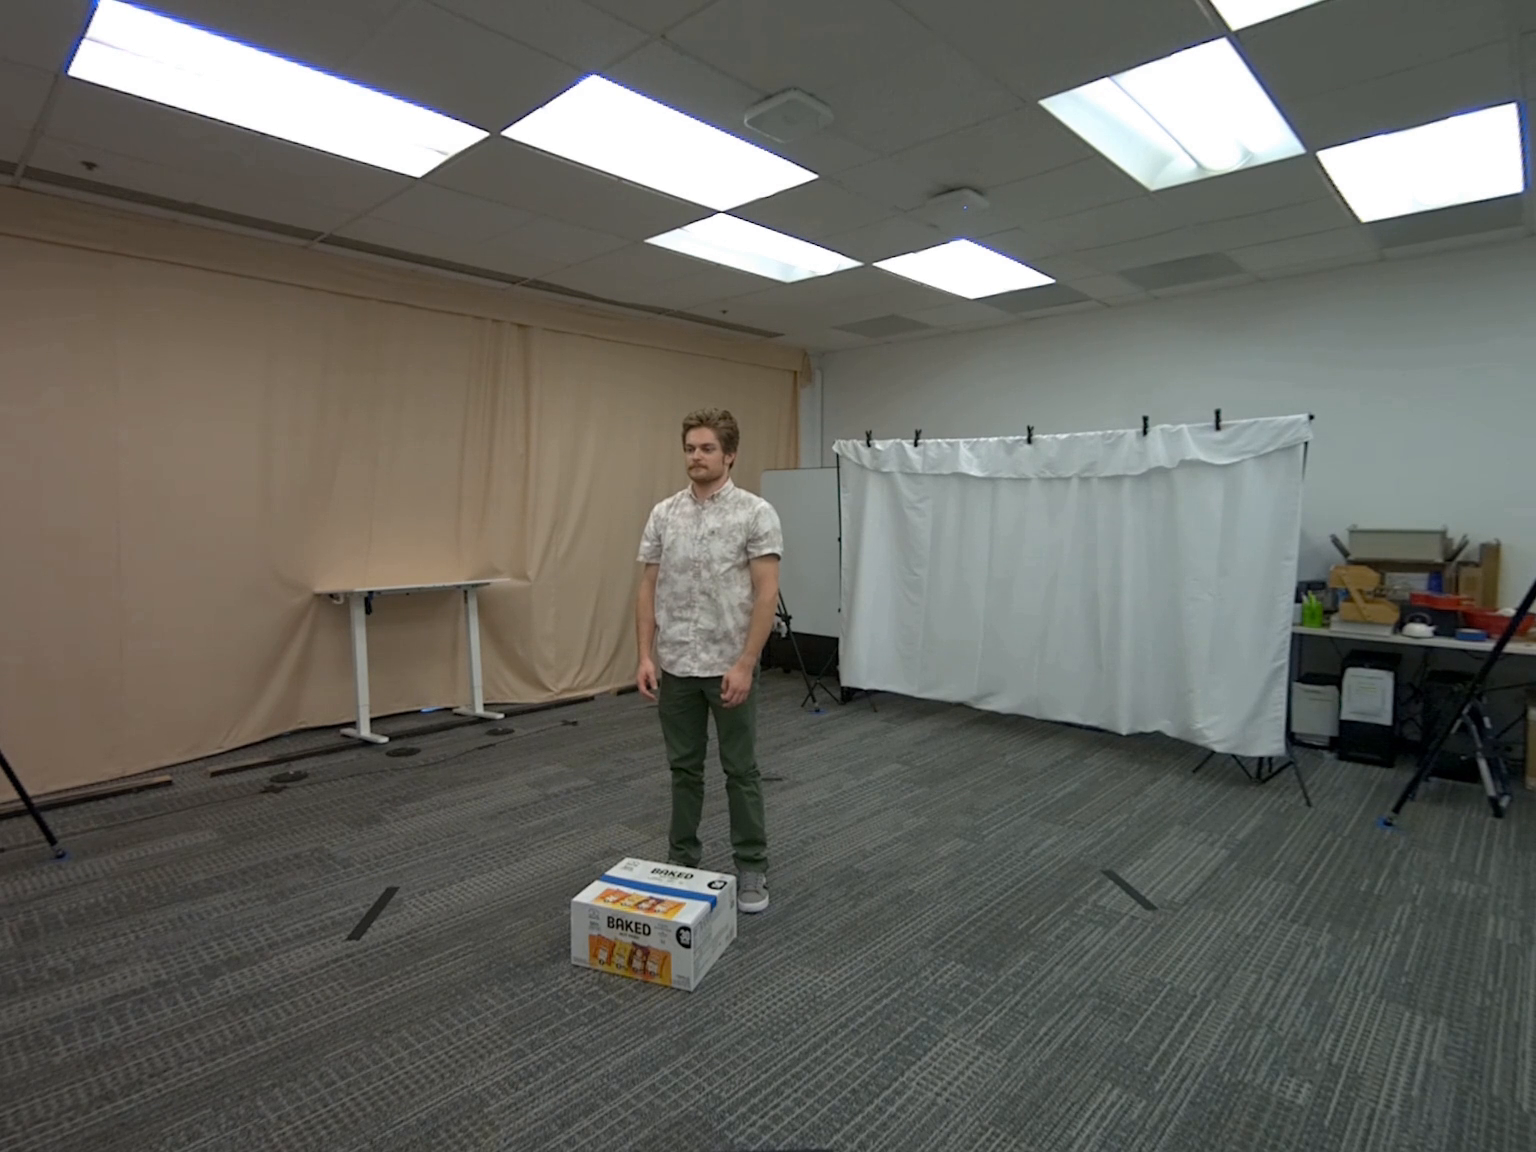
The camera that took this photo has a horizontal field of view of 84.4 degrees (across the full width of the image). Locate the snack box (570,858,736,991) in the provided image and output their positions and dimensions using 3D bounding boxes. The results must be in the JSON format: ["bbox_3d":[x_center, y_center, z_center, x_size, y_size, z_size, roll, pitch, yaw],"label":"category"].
[{"bbox_3d":[-0.349,1.076,2.622,0.414,0.205,0.333,1,5,21],"label":"snack box"}]
